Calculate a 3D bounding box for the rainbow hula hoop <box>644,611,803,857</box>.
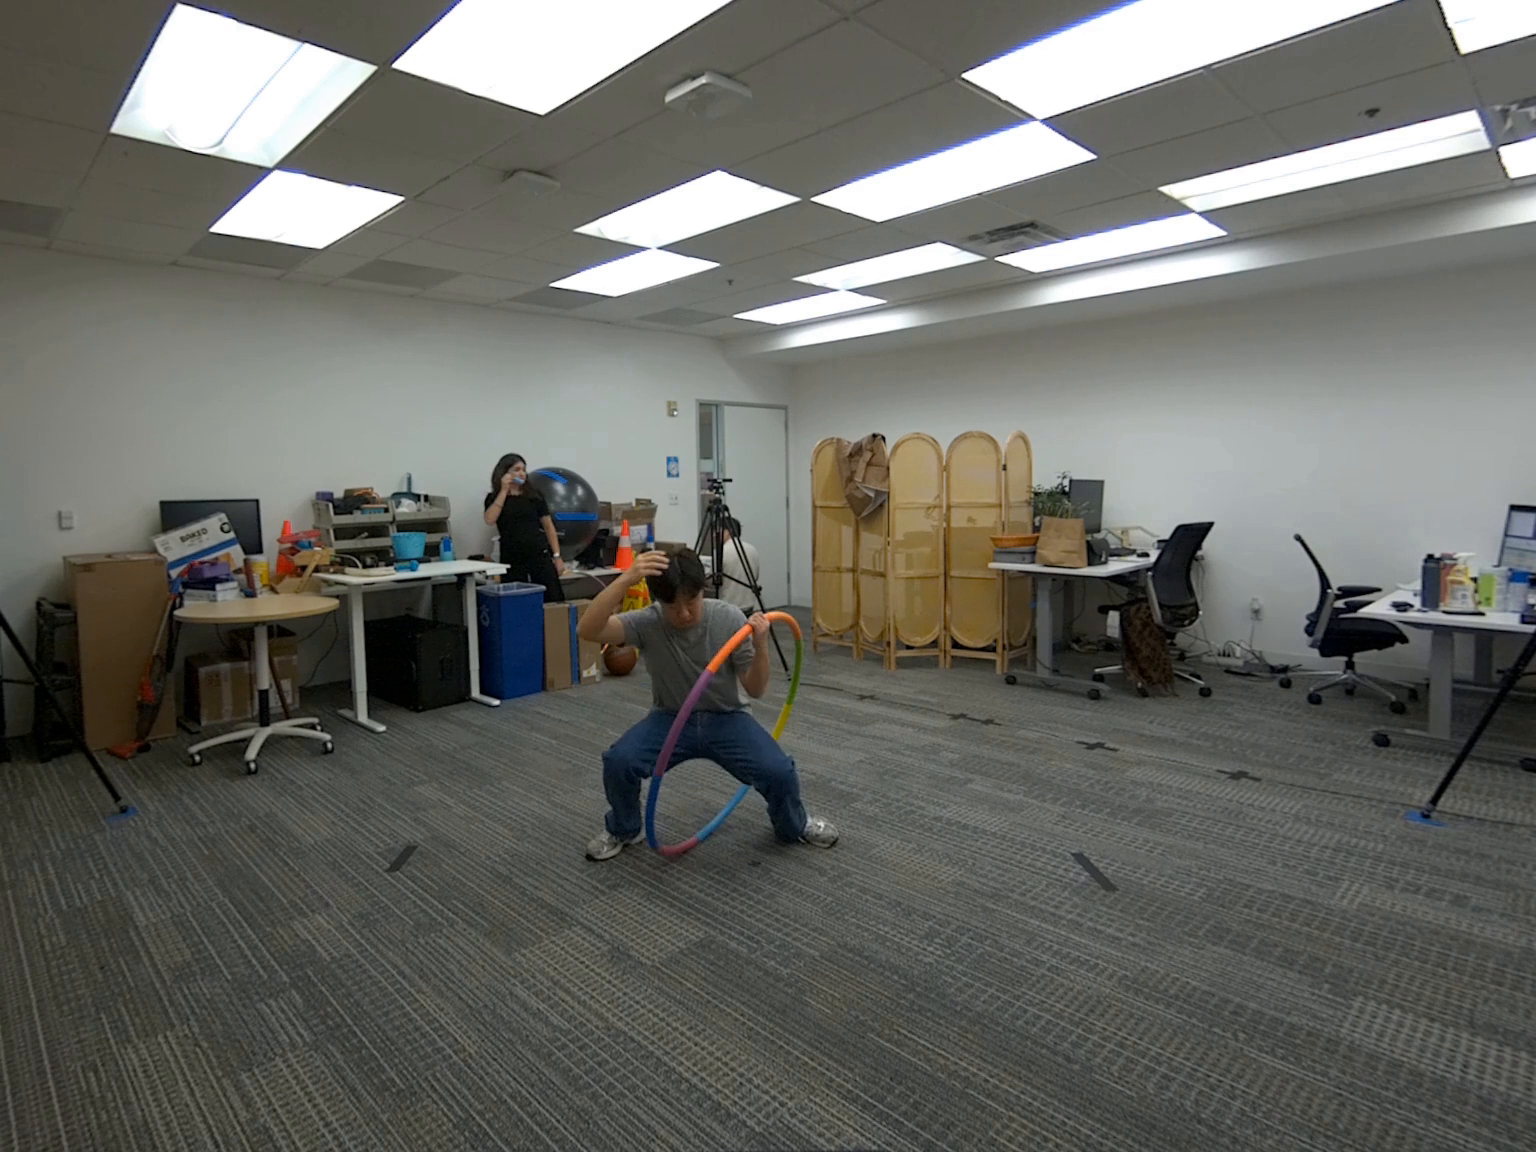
[{"bbox_3d":[-0.145,0.577,3.177,0.036,0.971,0.959,24,15,22],"label":"rainbow hula hoop"}]
